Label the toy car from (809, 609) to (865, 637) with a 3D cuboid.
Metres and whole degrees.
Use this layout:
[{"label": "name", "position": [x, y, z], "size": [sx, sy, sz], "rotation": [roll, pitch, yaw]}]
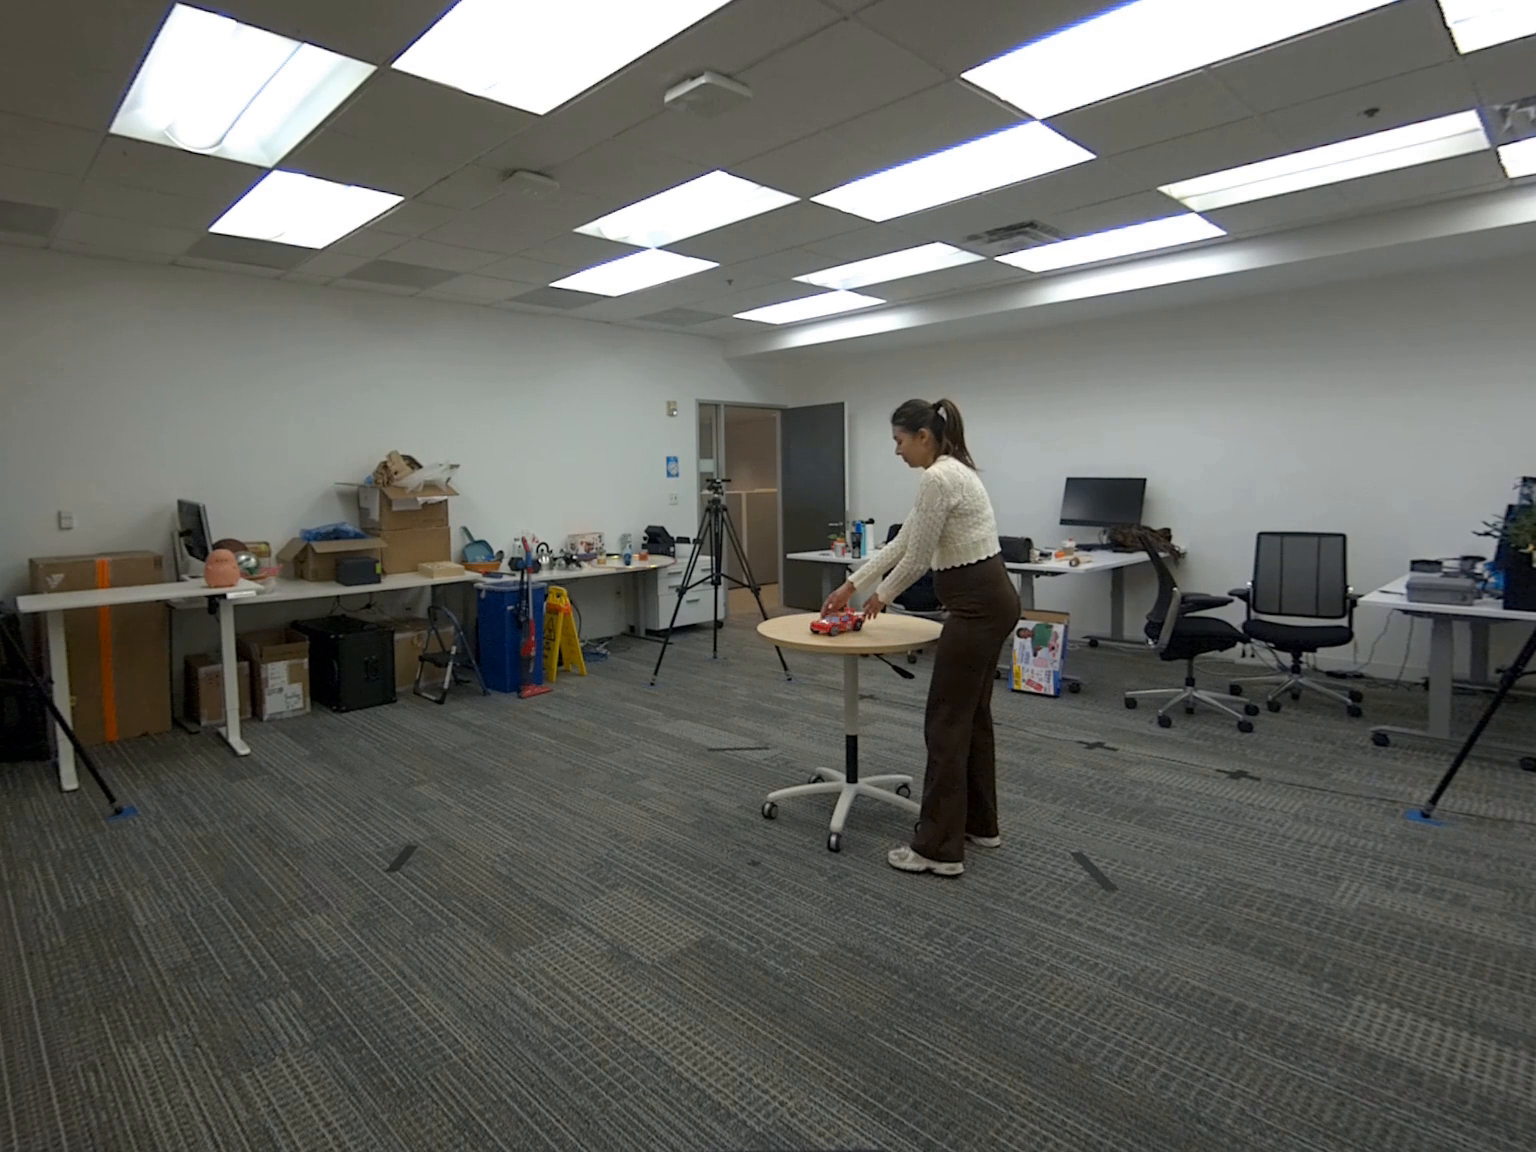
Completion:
[{"label": "toy car", "position": [0.289, 0.188, 3.408], "size": [0.250, 0.082, 0.134], "rotation": [-21, 17, -40]}]
